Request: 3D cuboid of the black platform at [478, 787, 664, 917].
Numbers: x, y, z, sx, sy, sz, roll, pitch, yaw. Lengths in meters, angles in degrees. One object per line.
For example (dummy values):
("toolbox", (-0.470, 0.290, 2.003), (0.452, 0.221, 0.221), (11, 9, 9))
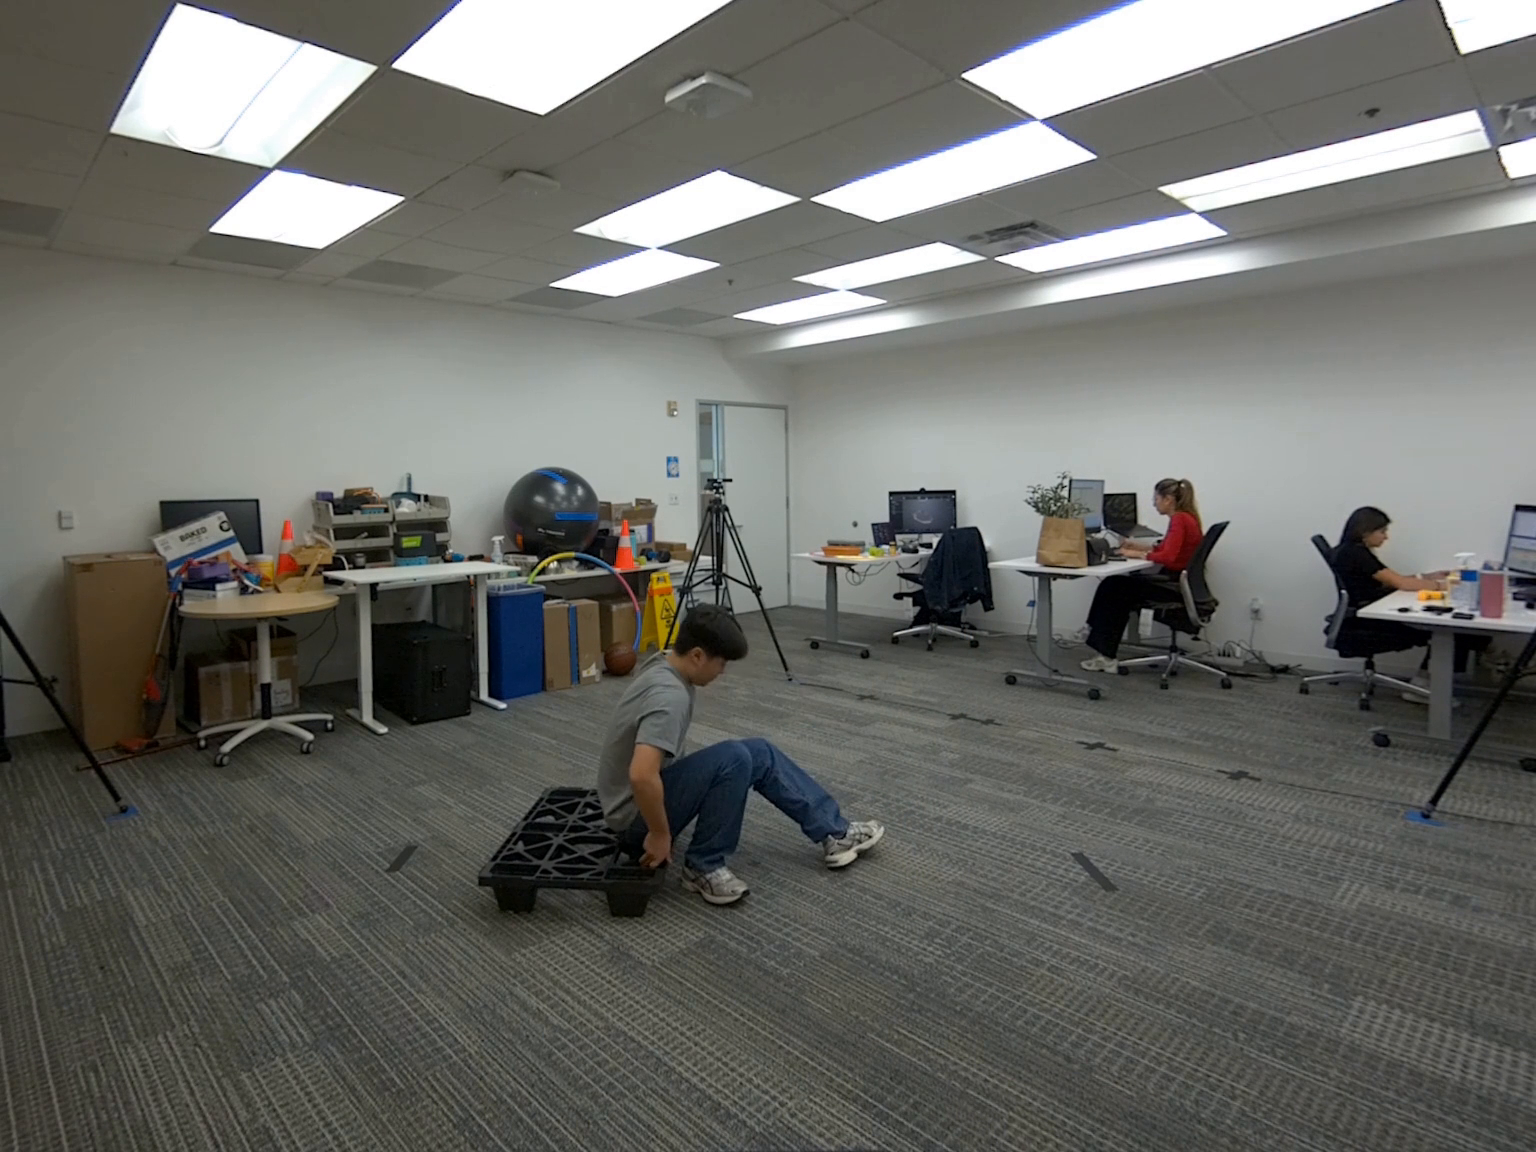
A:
("black platform", (-0.621, 0.980, 3.119), (0.607, 0.142, 0.807), (0, 7, 3))
